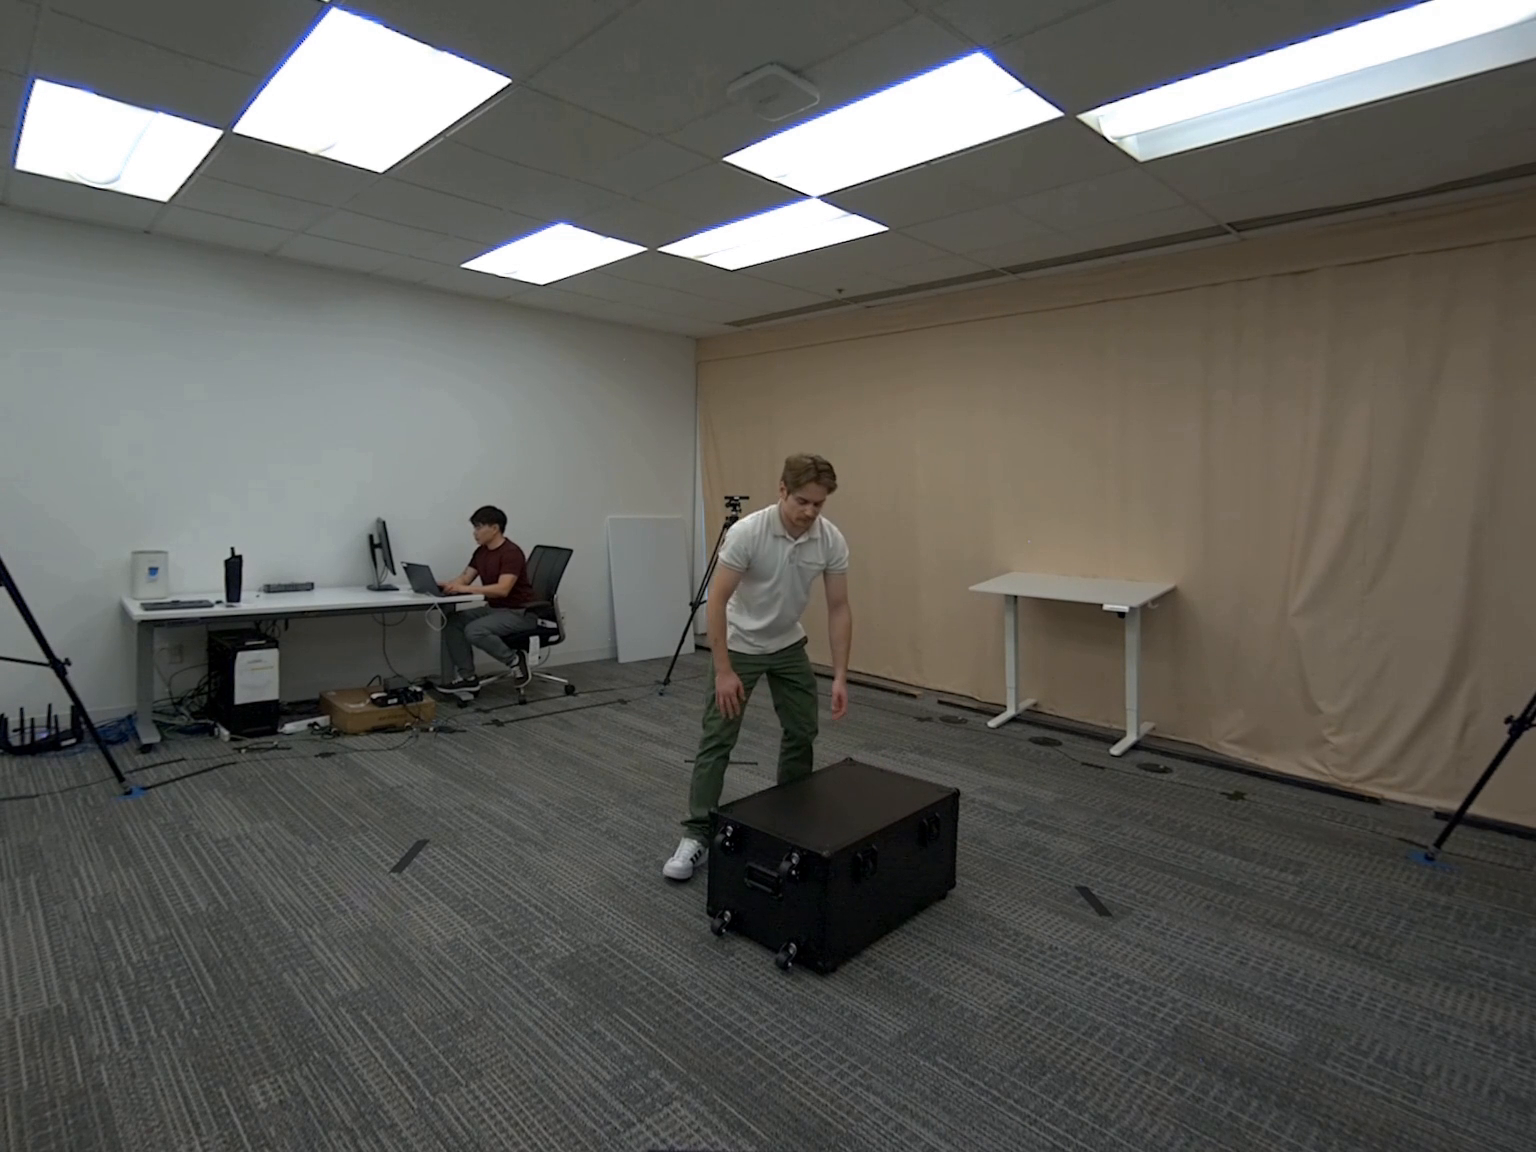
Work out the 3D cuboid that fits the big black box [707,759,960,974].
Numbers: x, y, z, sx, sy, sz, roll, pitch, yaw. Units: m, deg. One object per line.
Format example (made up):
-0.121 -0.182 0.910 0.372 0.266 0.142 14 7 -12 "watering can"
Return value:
0.205 0.940 2.840 0.537 0.384 0.849 7 8 41 "big black box"
